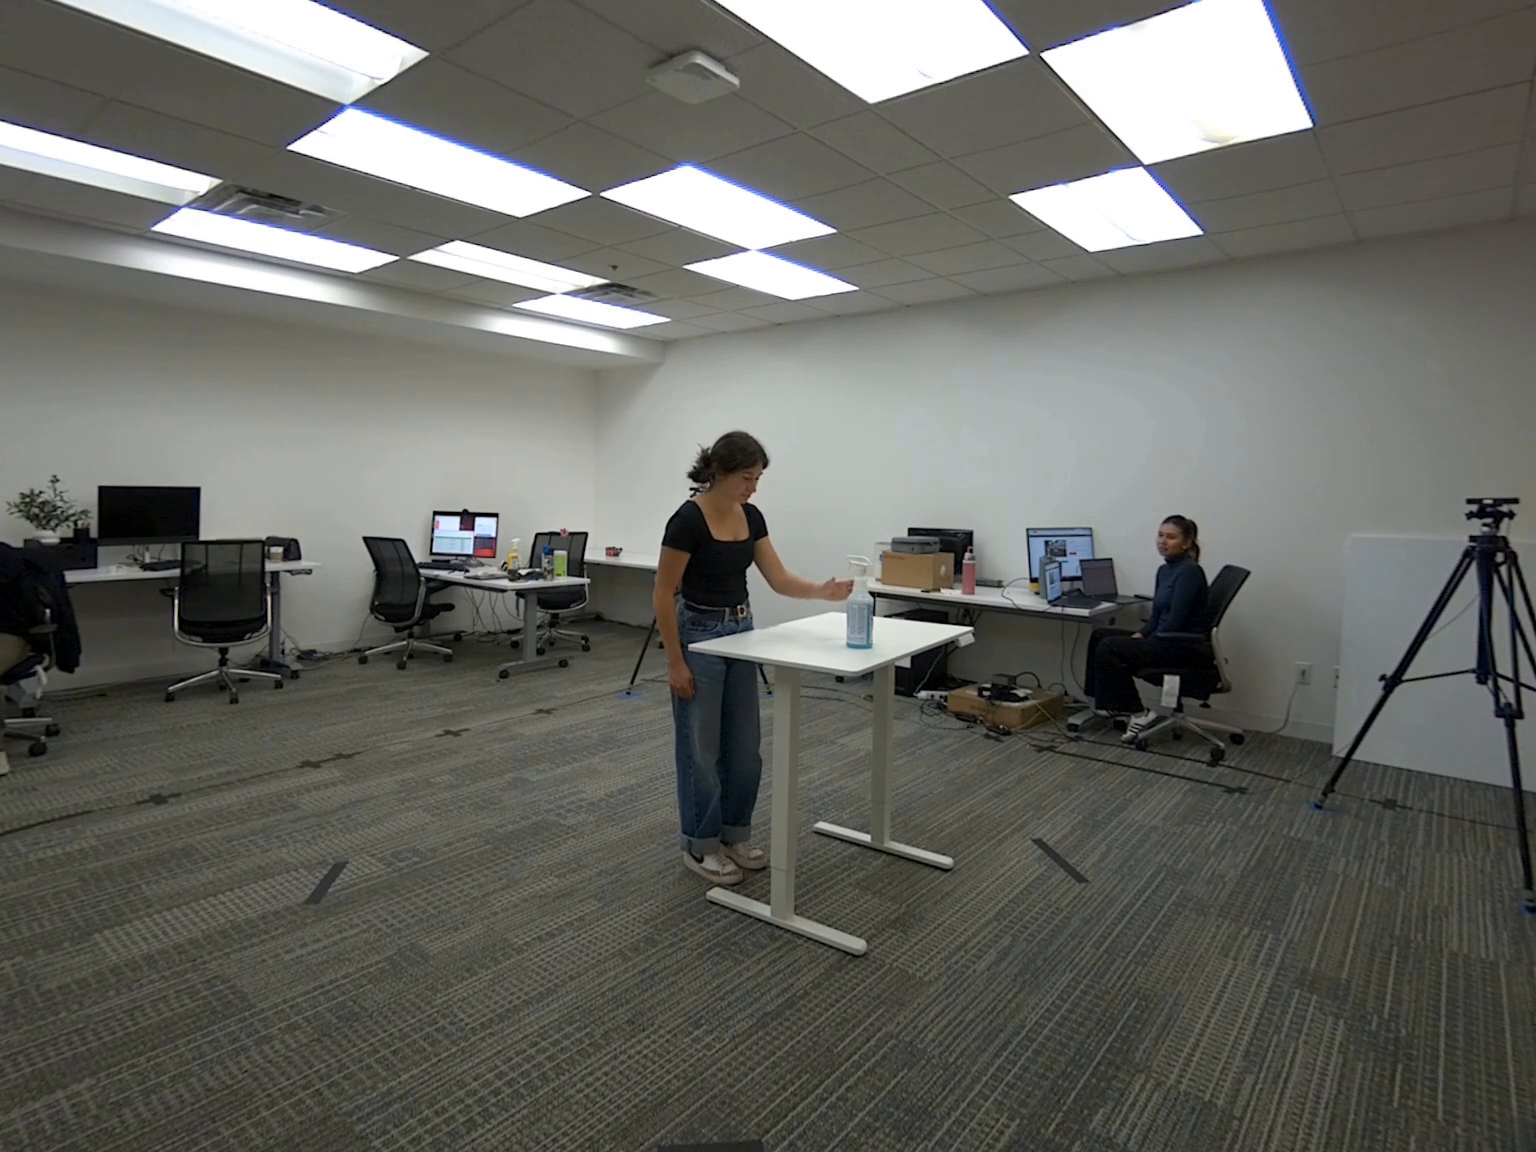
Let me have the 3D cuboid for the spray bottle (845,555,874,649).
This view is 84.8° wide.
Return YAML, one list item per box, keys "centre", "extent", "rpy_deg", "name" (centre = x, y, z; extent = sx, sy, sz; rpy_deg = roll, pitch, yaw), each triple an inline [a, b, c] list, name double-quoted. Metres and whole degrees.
- centre: [0.297, 0.083, 2.767]
  extent: [0.084, 0.297, 0.093]
  rpy_deg: [-1, 3, -33]
  name: "spray bottle"
